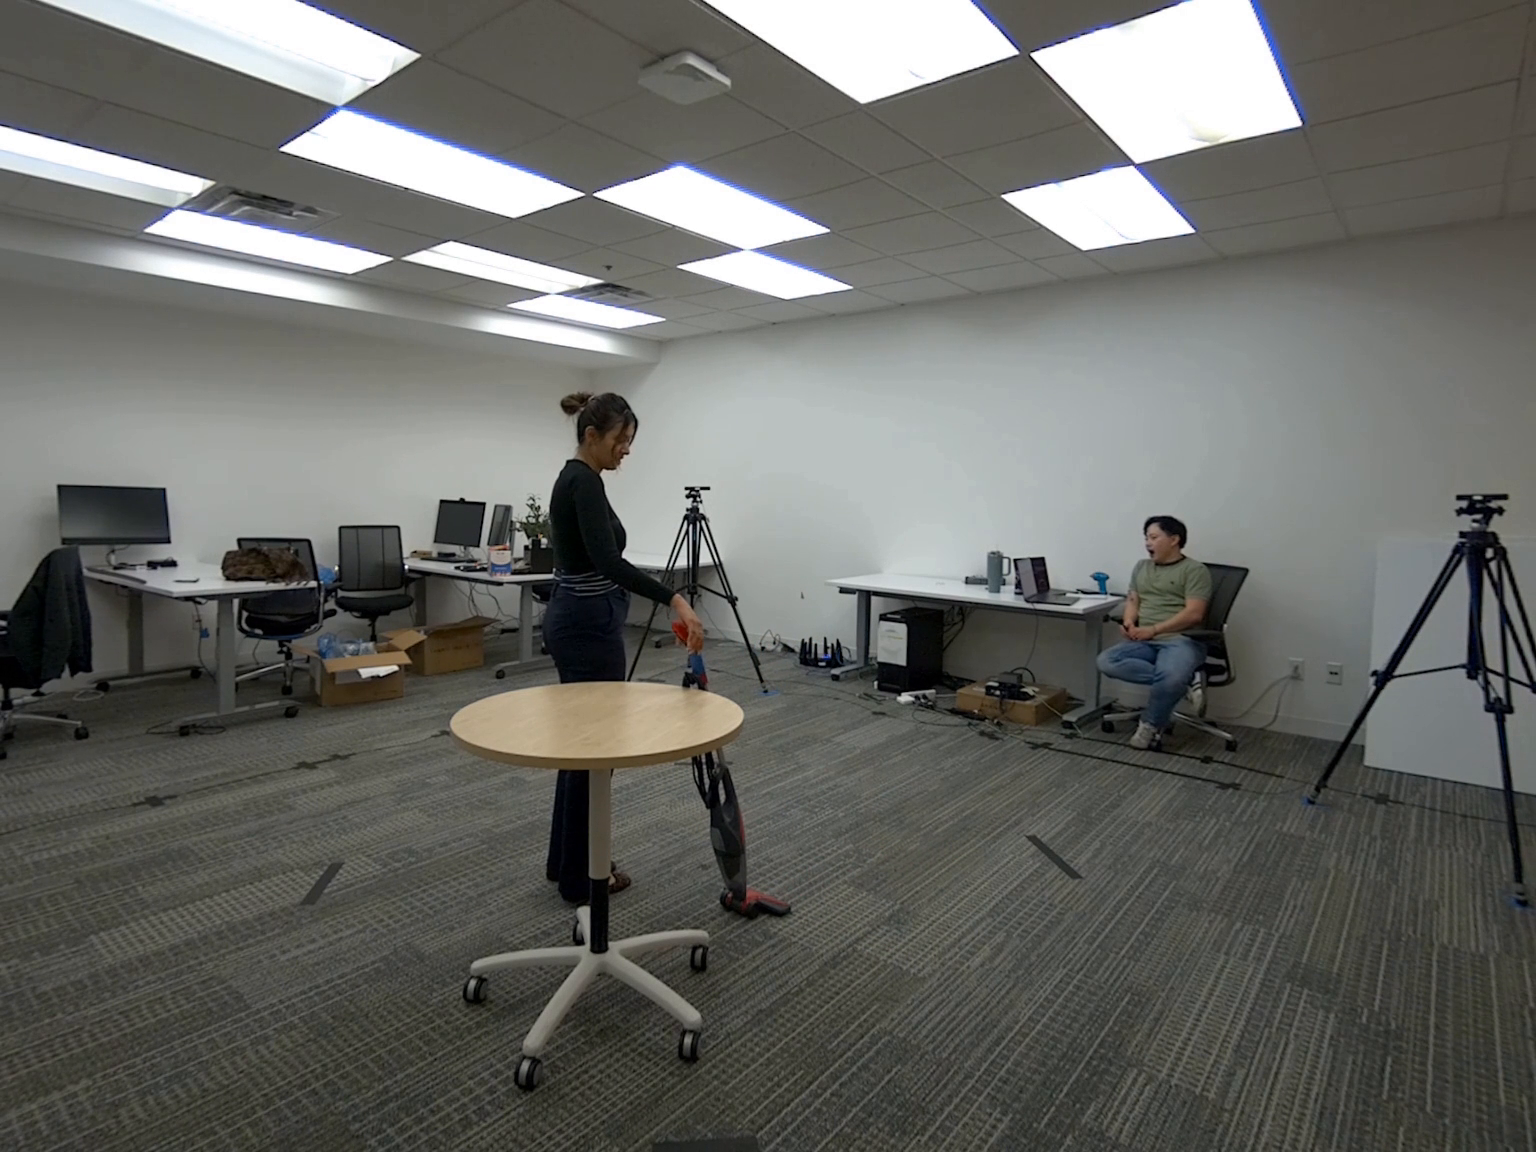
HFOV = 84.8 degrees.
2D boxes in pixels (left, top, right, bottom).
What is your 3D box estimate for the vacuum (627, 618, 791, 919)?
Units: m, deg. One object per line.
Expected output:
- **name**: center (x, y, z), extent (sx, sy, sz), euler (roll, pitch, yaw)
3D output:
- **vacuum**: center (-0.173, 0.620, 2.658), extent (0.261, 1.027, 0.142), euler (6, 26, 43)
